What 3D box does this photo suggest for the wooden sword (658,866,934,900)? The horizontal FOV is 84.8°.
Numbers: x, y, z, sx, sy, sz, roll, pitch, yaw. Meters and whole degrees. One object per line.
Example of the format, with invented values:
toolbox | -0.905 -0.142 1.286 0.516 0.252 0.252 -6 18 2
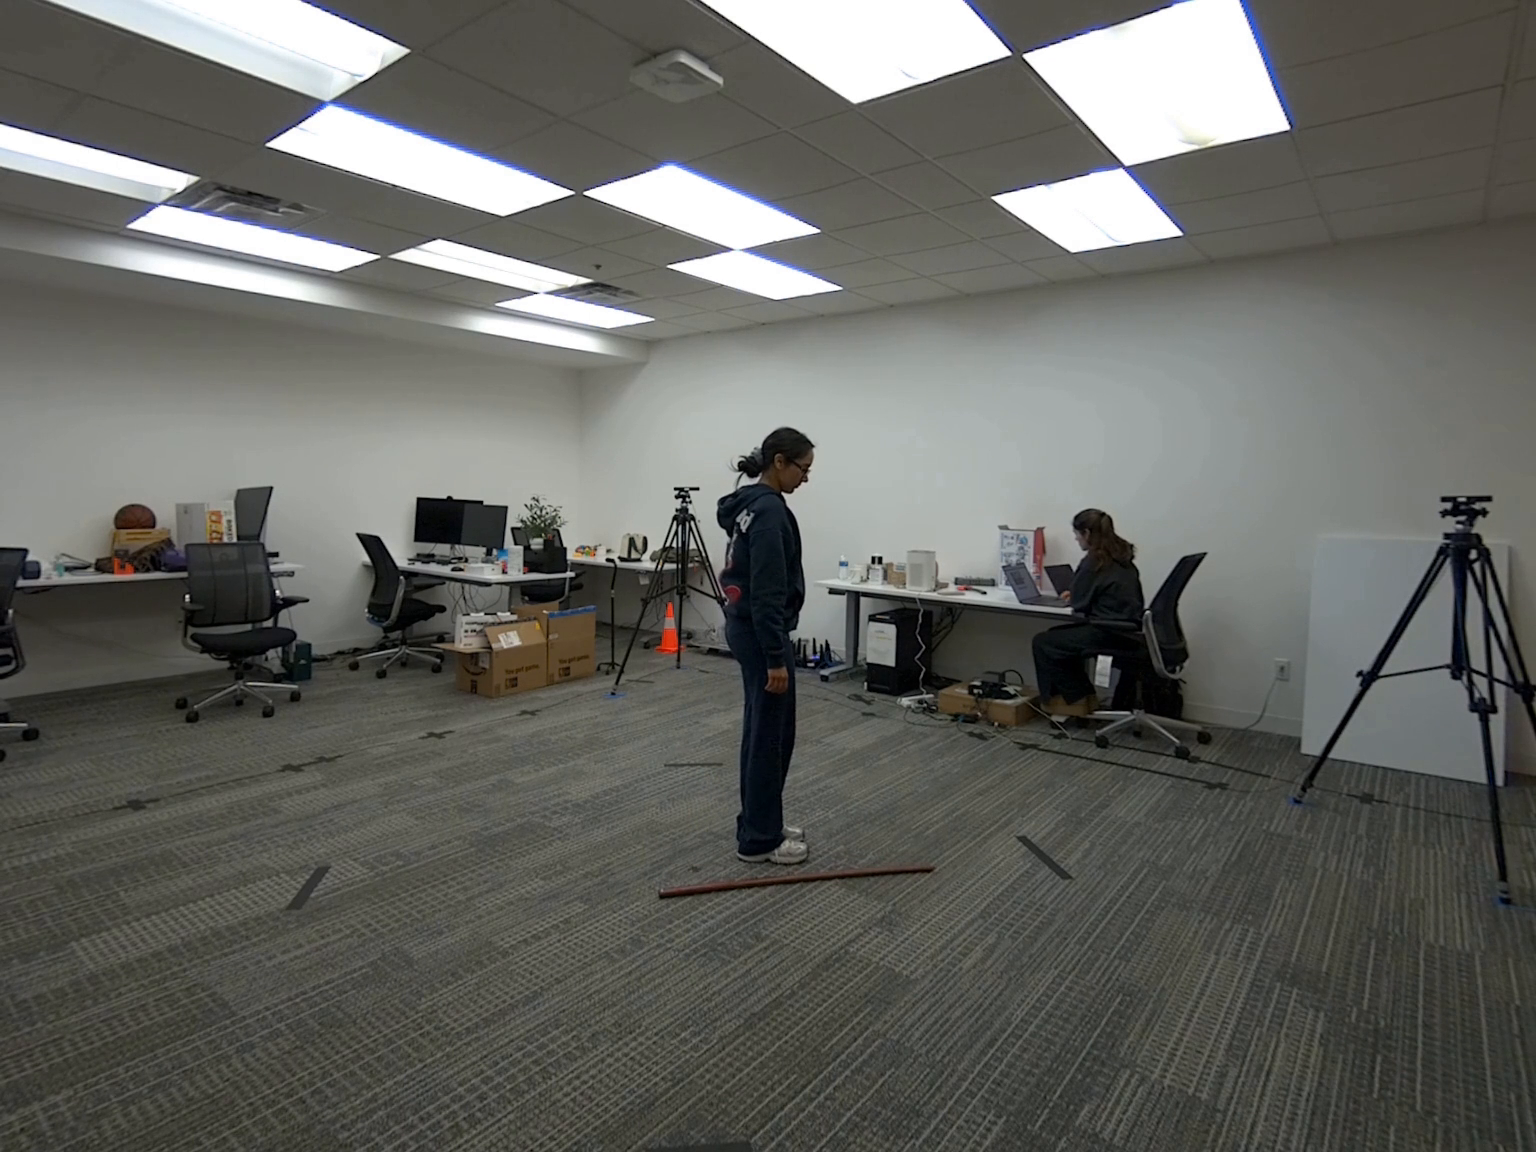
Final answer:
wooden sword | 0.110 1.063 3.017 1.009 0.024 0.051 -1 -16 -14
